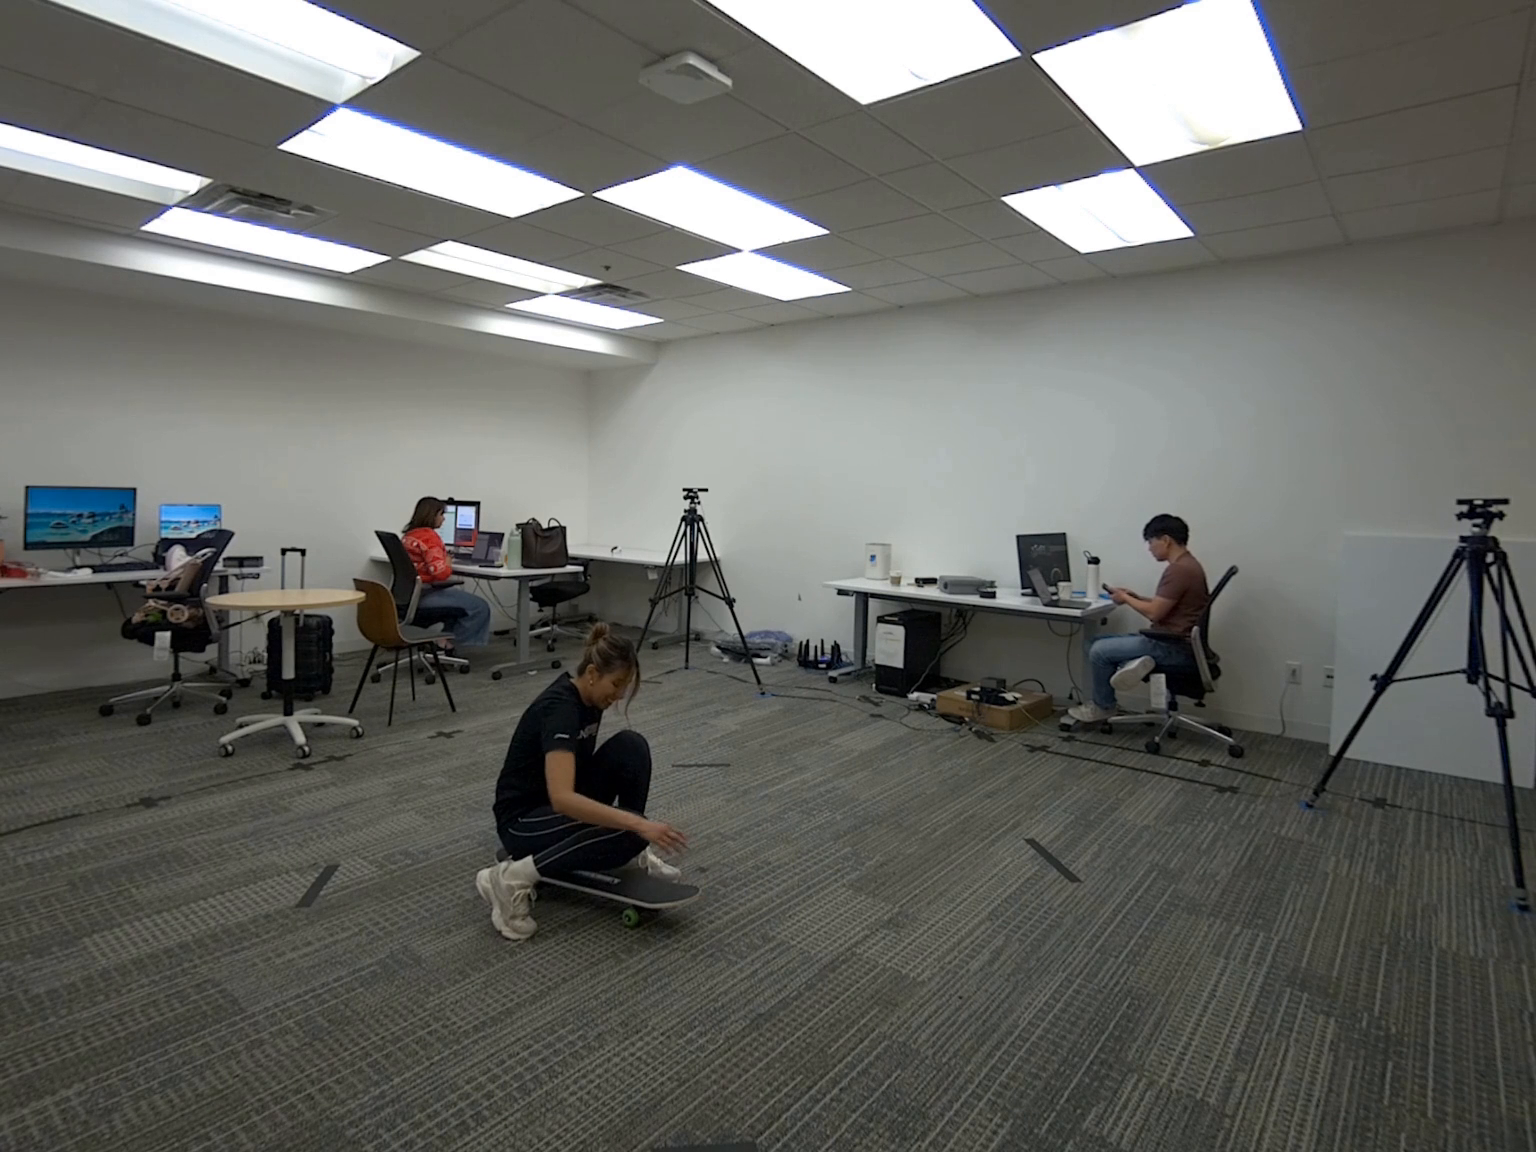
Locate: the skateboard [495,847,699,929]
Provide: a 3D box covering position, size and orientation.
[{"bbox_3d":[-0.587,1.026,2.835,0.806,0.110,0.189,2,3,26],"label":"skateboard"}]
